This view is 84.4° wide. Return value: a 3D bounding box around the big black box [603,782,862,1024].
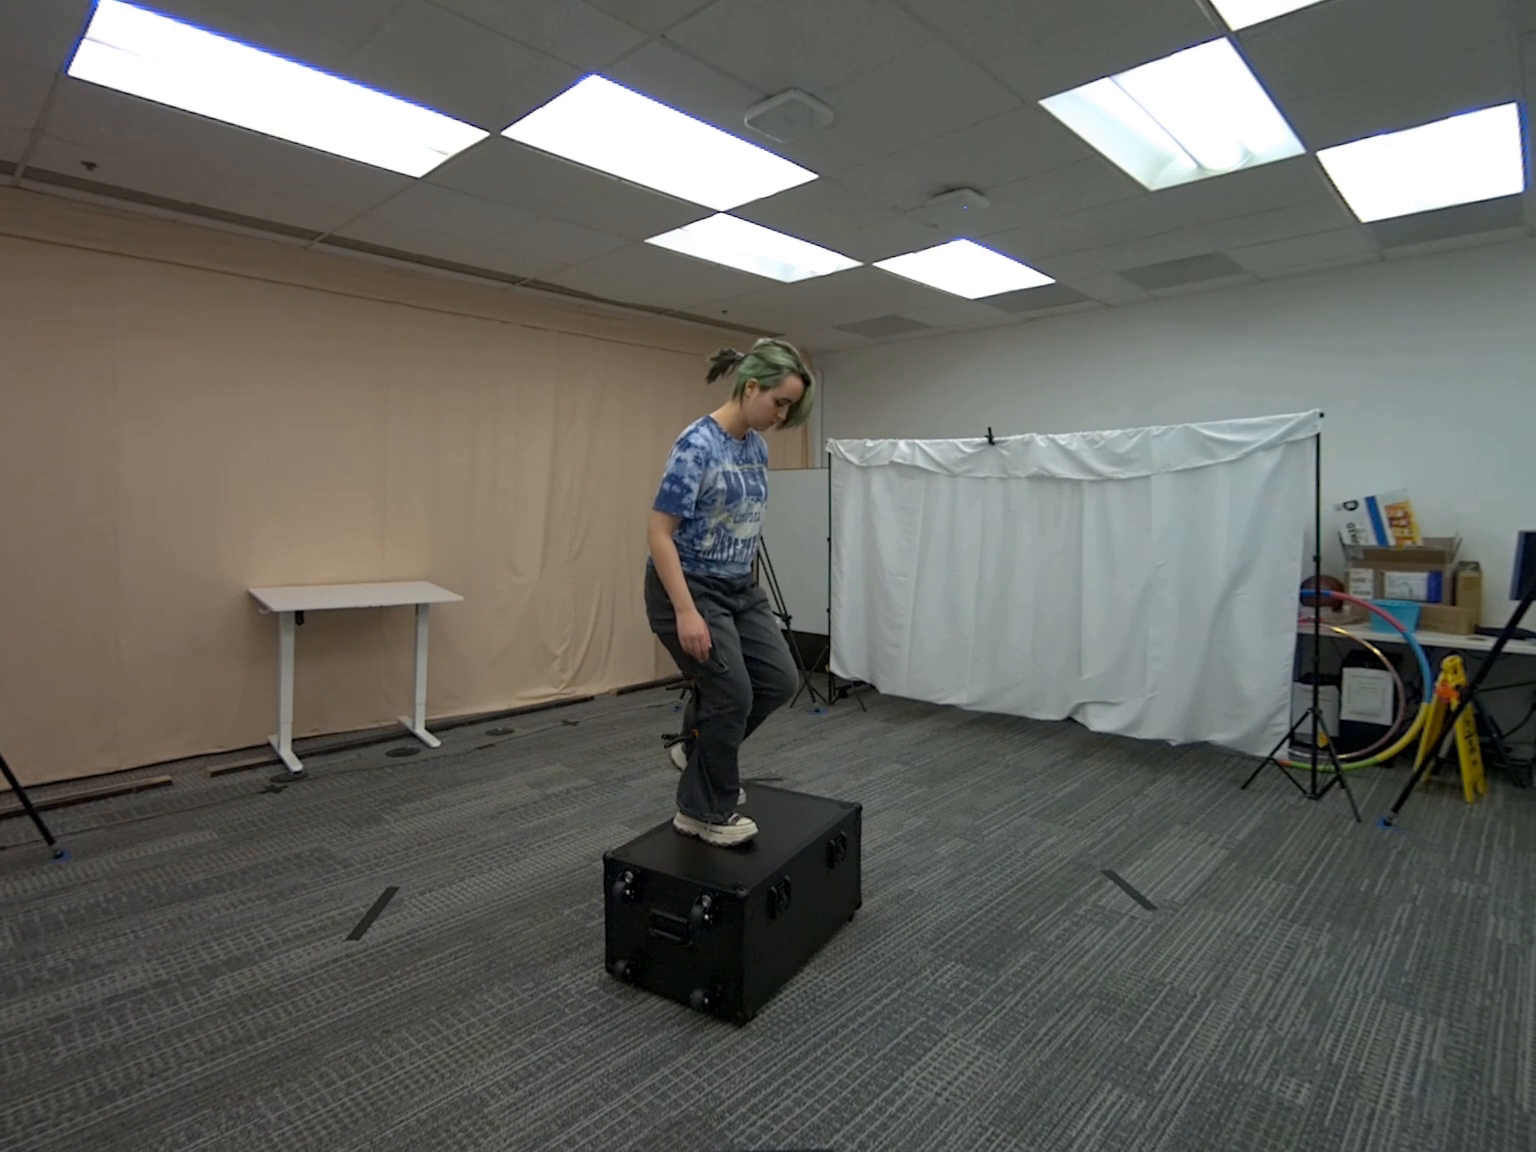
[{"bbox_3d":[-0.097,0.983,2.641,0.537,0.395,0.838,3,5,31],"label":"big black box"}]
